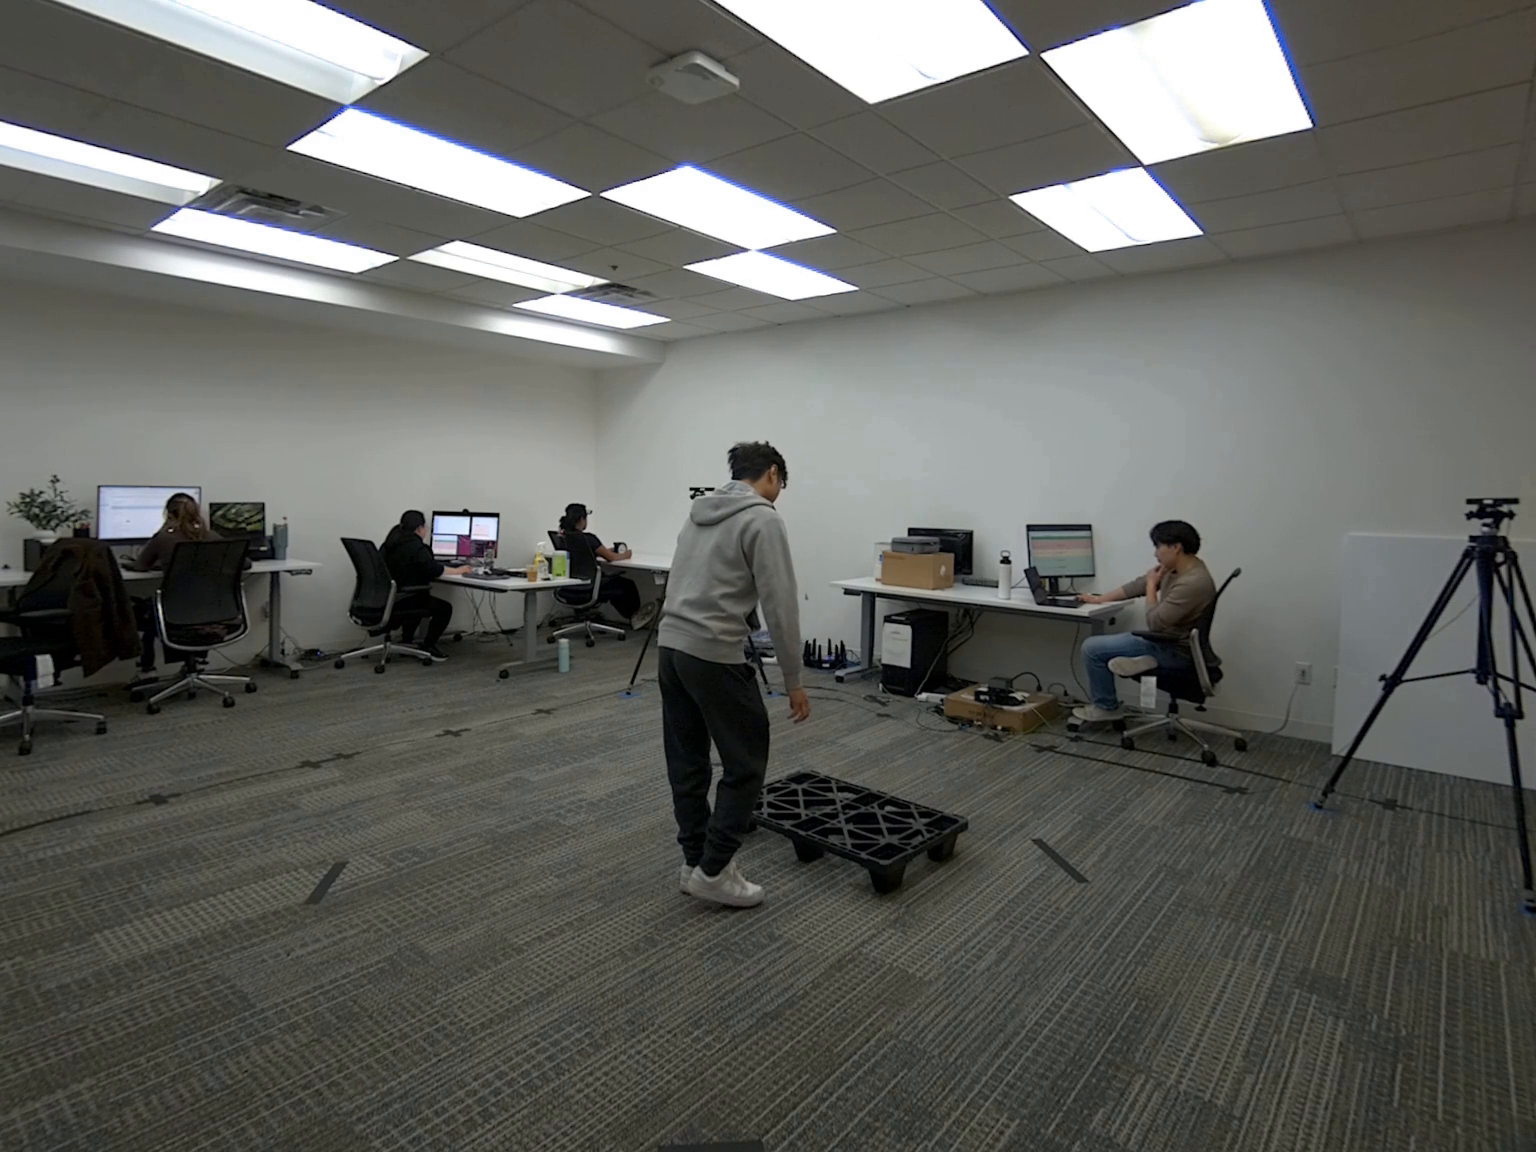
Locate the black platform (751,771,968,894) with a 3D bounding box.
[{"bbox_3d":[0.279,0.985,3.352,0.833,0.143,0.587,6,8,42],"label":"black platform"}]
